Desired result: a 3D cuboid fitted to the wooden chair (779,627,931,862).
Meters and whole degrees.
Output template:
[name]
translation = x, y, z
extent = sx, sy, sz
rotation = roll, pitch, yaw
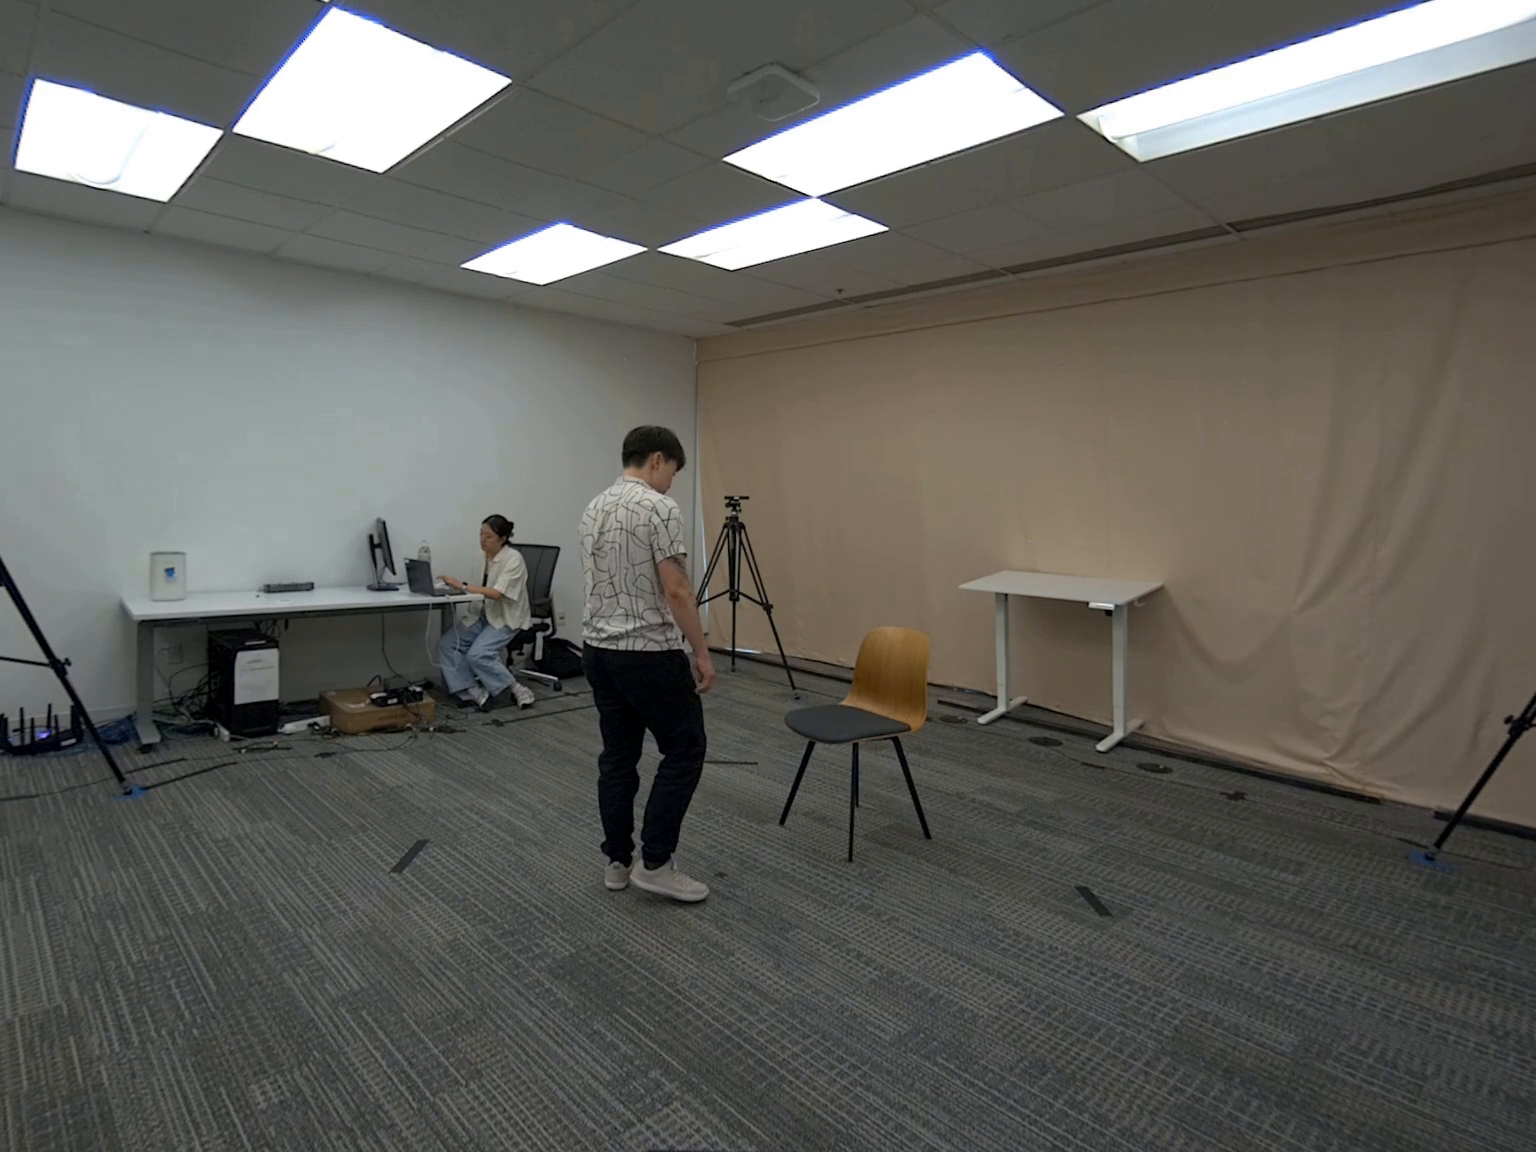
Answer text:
[wooden chair]
translation = 0.361, 0.652, 3.511
extent = 0.510, 0.877, 0.490
rotation = 5, 1, -36
